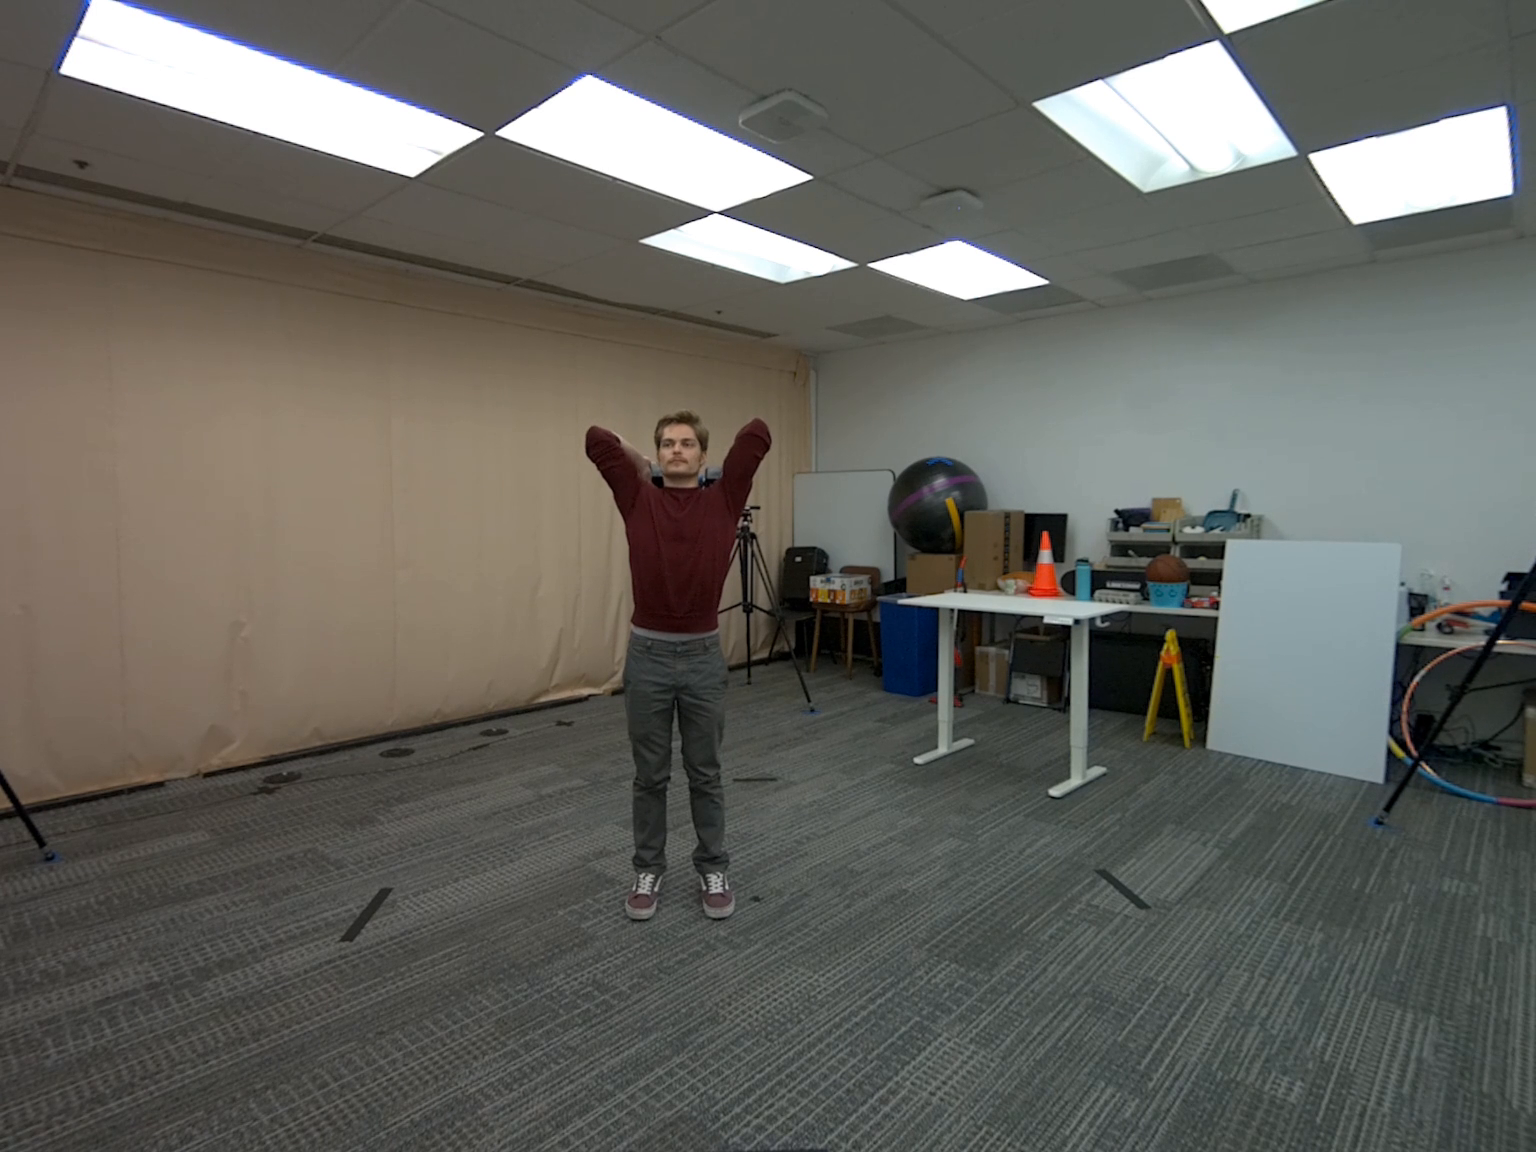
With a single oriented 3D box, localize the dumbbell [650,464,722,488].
[{"bbox_3d":[-0.302,-0.364,3.096,0.296,0.121,0.109,2,24,6],"label":"dumbbell"}]
